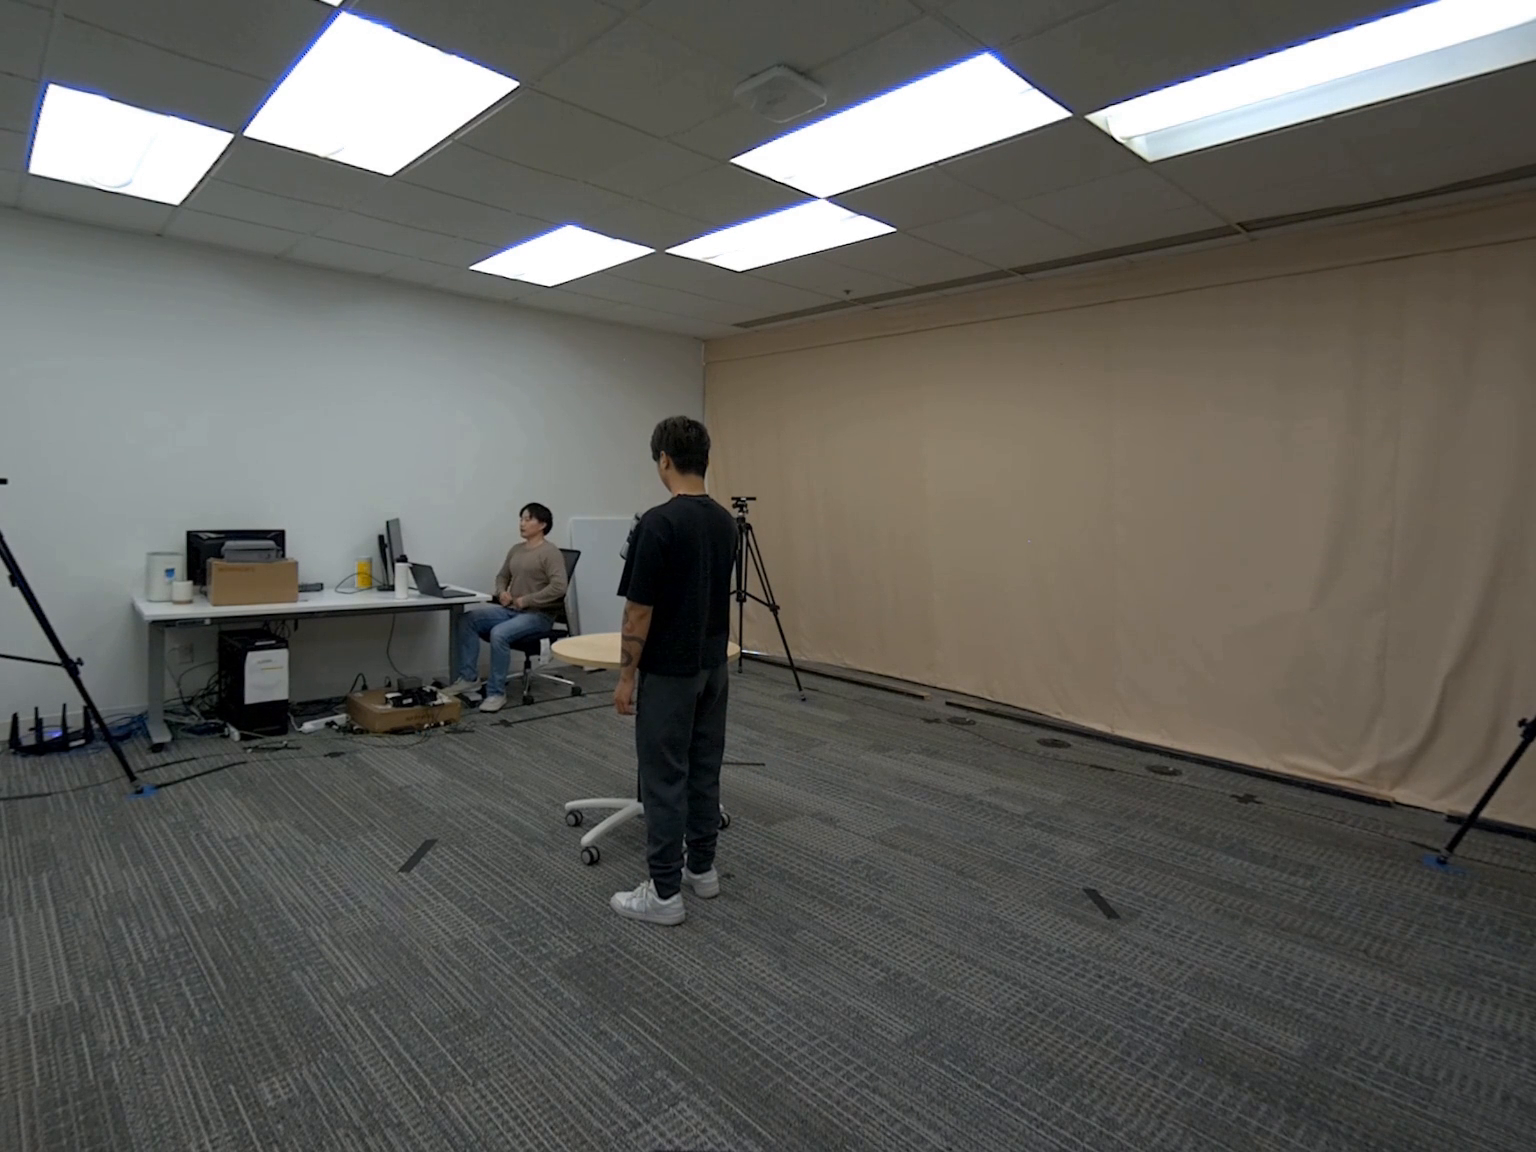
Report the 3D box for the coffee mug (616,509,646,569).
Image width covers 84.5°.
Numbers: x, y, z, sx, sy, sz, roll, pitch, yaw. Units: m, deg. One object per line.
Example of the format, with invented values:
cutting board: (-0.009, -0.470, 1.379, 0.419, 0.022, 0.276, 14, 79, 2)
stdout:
coffee mug: (-0.527, -0.143, 3.368, 0.086, 0.201, 0.125, 16, 26, -22)
